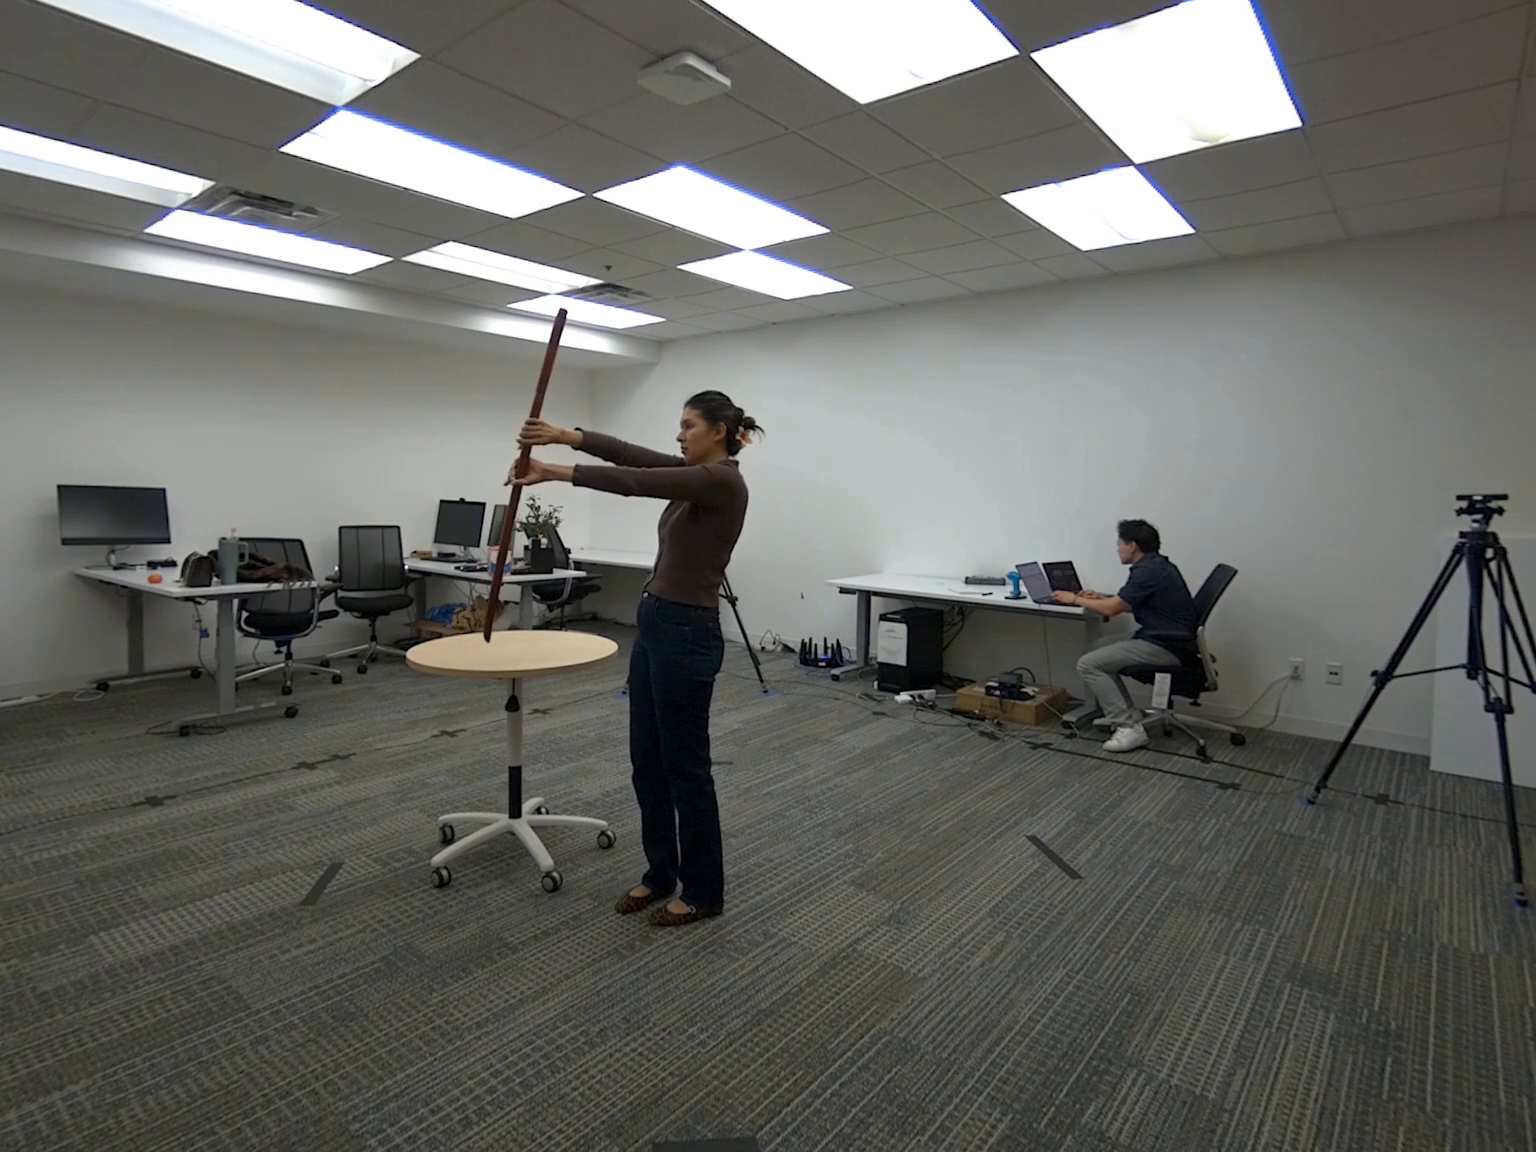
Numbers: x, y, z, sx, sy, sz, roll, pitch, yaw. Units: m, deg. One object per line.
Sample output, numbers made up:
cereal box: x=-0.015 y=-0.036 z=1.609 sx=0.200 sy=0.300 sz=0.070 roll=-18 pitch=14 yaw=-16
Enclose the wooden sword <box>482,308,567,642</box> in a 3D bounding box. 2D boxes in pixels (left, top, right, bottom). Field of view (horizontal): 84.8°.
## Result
wooden sword: x=-0.760 y=-0.320 z=2.542 sx=0.023 sy=1.027 sz=0.053 roll=17 pitch=-5 yaw=-41
